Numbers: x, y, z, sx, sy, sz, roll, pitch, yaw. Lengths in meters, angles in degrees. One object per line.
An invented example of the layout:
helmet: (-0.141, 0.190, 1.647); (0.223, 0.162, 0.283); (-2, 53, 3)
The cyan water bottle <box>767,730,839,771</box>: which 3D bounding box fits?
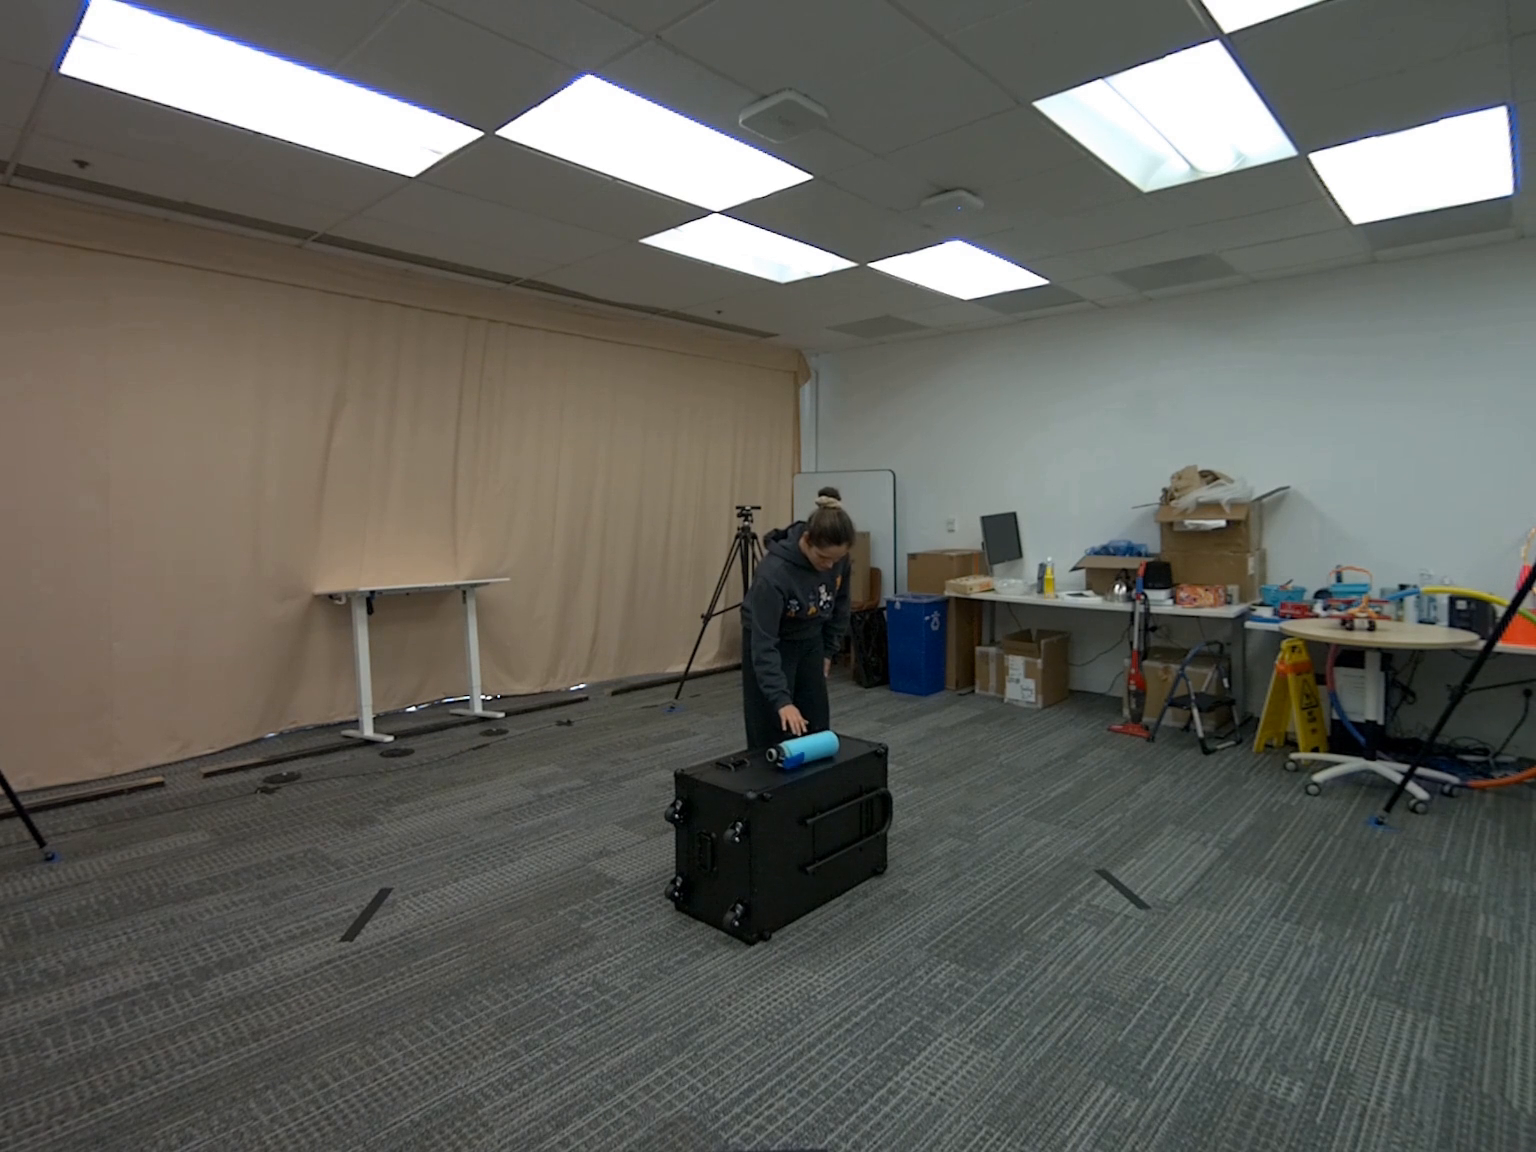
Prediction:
cyan water bottle: (0.134, 0.605, 2.979); (0.275, 0.092, 0.095); (-6, 7, -41)
